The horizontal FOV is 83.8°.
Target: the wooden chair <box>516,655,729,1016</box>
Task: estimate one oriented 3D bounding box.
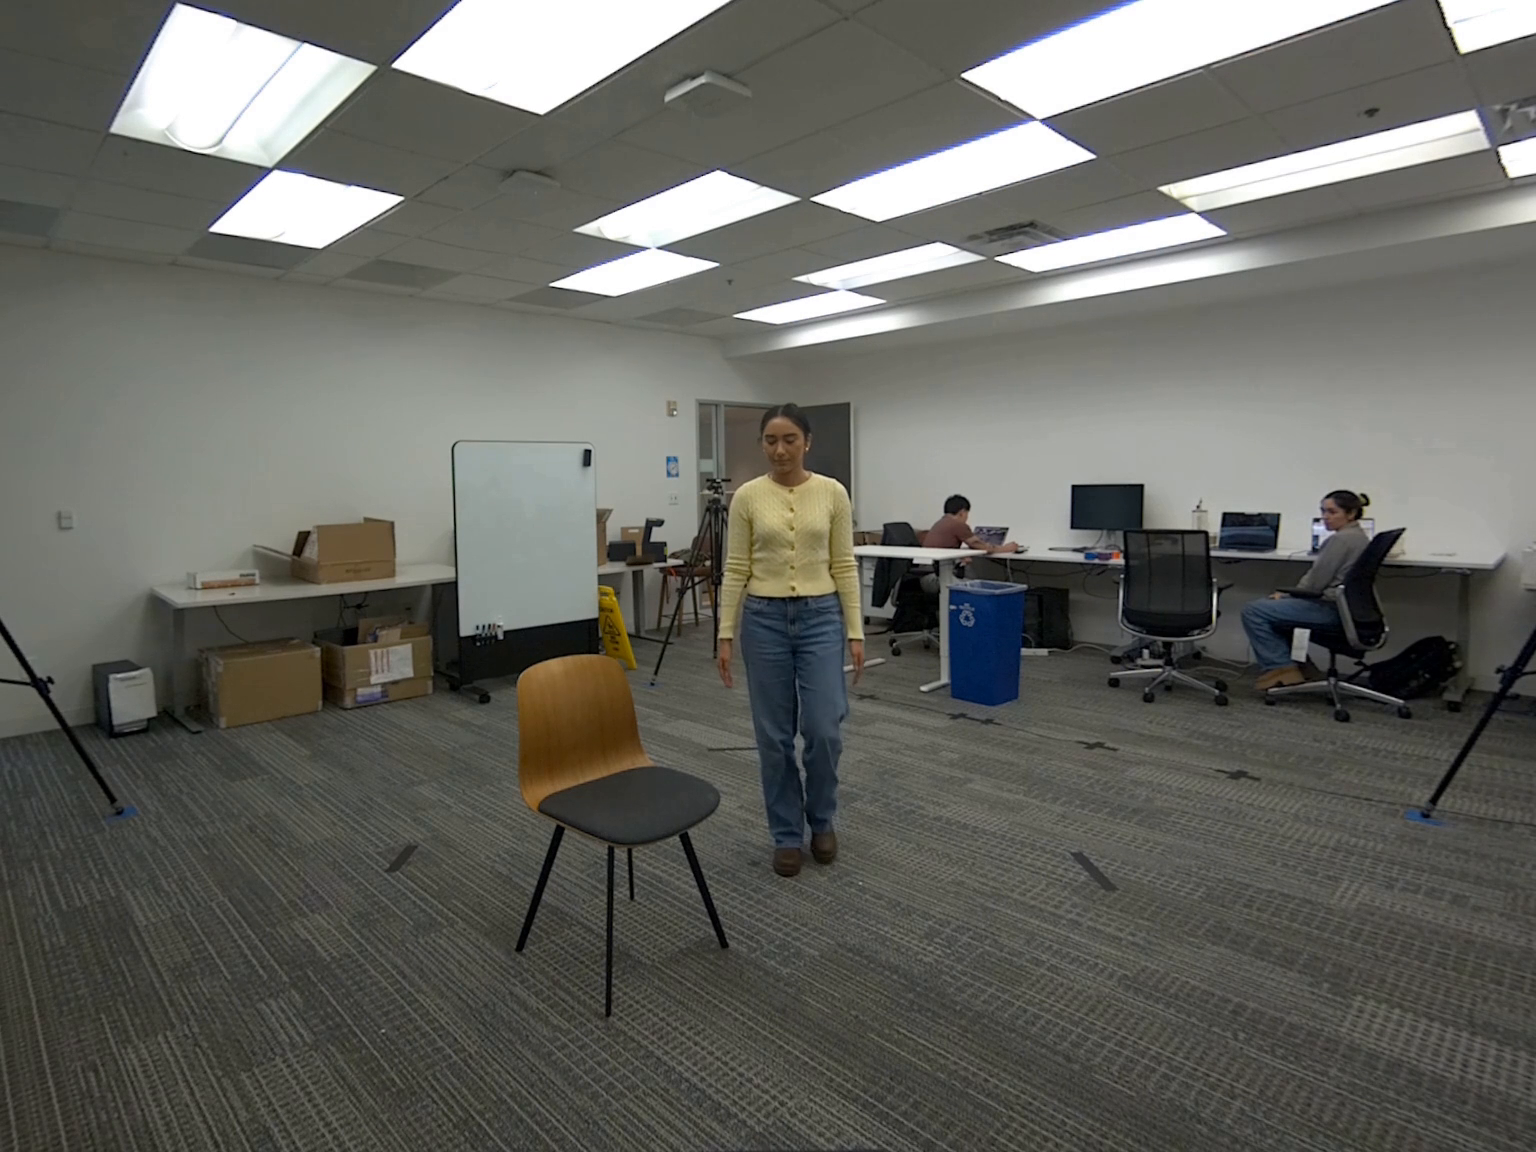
[{"bbox_3d":[-0.433,0.692,2.512,0.538,0.876,0.465,-2,2,44],"label":"wooden chair"}]
